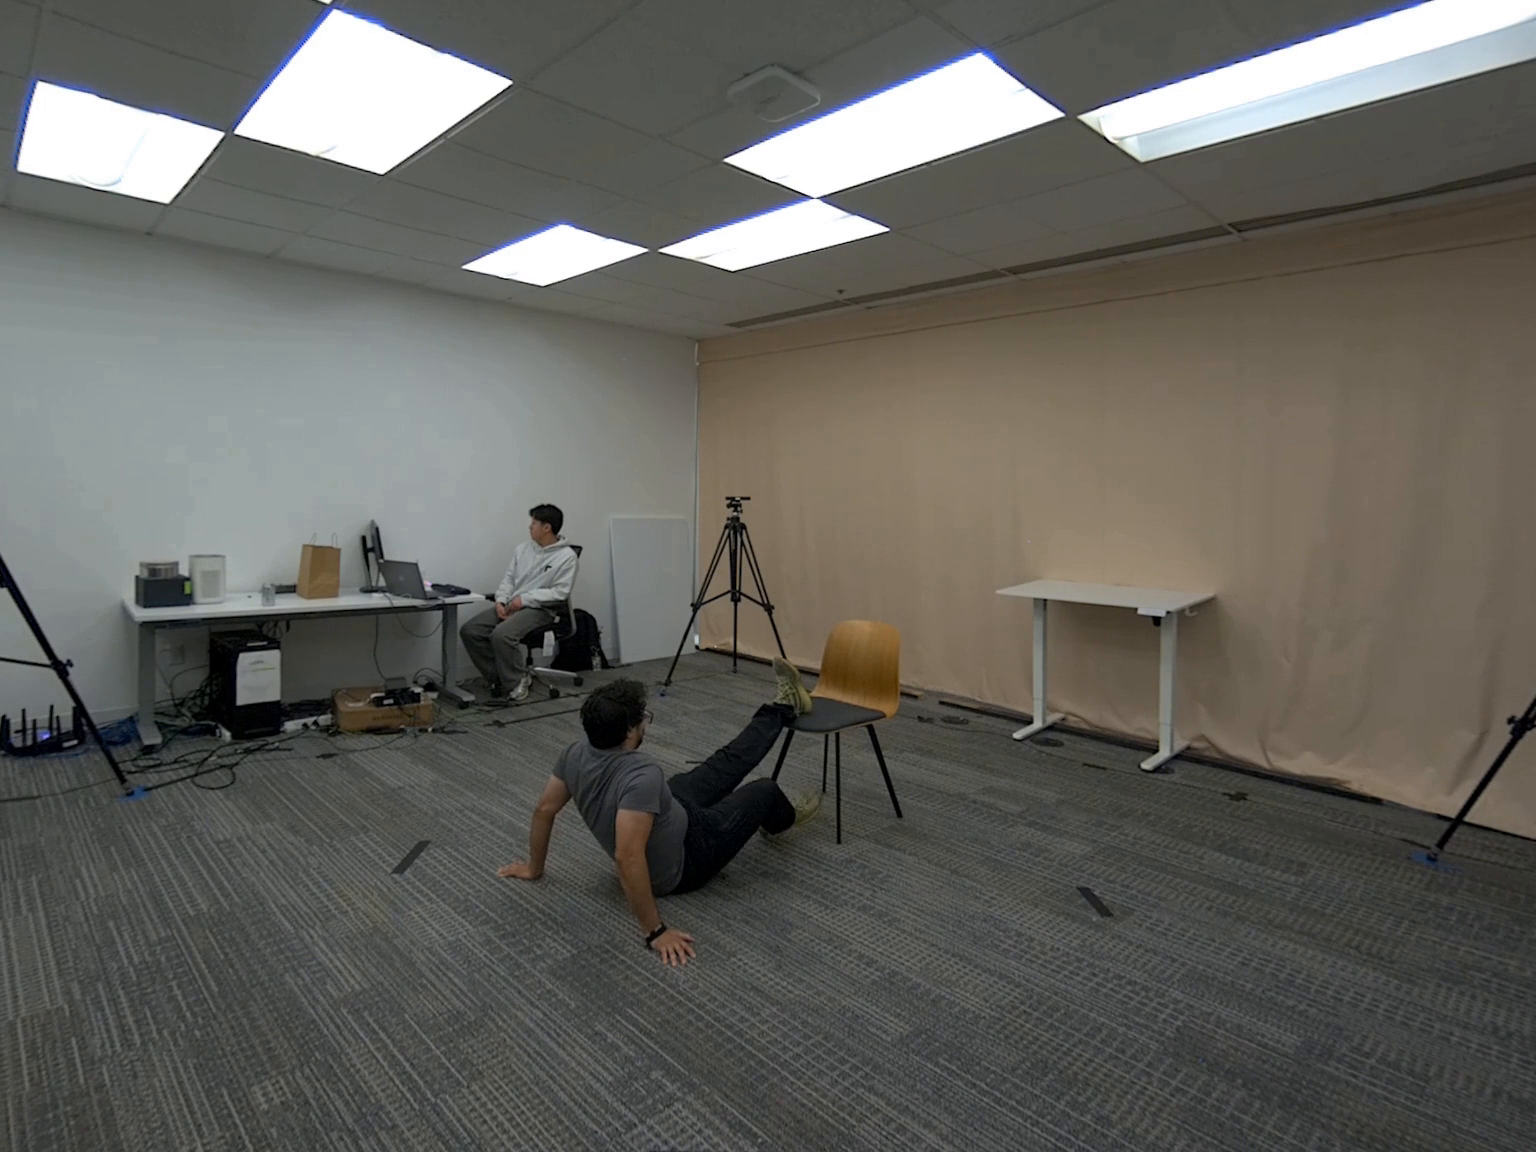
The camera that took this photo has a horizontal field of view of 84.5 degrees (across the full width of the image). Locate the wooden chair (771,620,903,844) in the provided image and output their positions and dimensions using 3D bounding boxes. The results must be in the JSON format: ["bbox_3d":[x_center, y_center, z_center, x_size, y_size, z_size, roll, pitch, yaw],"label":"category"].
[{"bbox_3d":[0.274,0.639,3.700,0.490,0.877,0.510,4,0,44],"label":"wooden chair"}]
